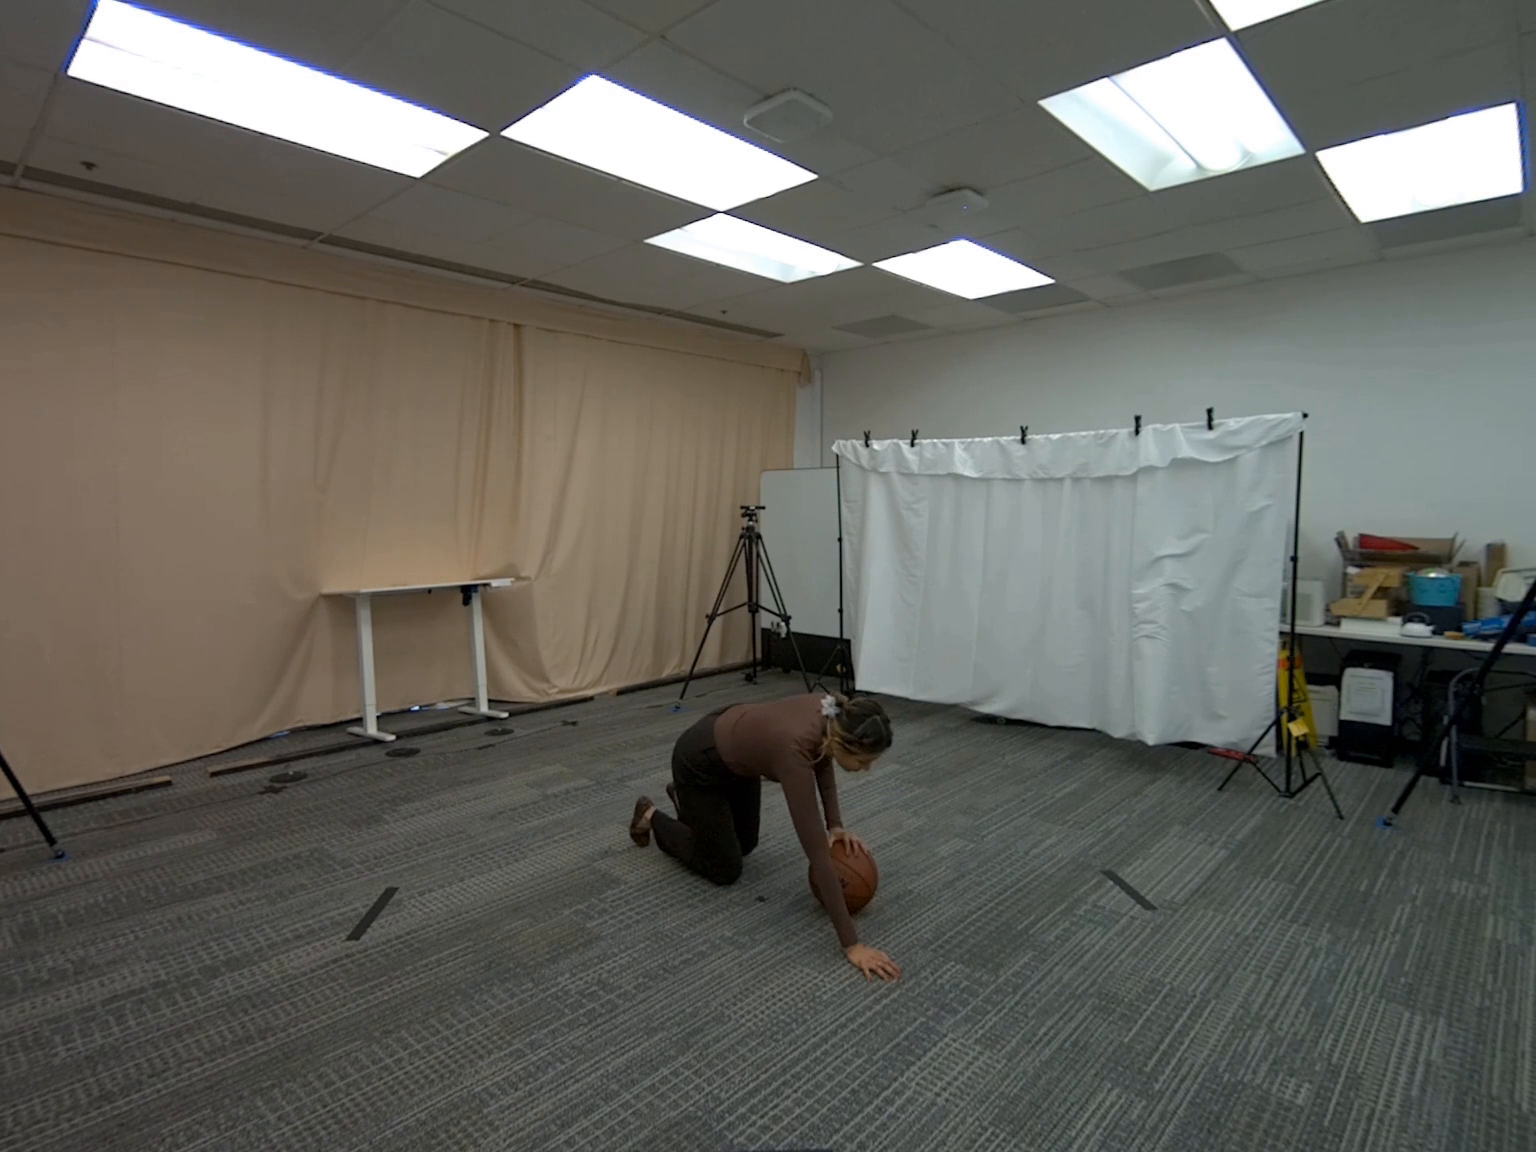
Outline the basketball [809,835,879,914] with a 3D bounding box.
[{"bbox_3d":[0.265,1.028,2.908,0.236,0.235,0.237,0,4,-2],"label":"basketball"}]
